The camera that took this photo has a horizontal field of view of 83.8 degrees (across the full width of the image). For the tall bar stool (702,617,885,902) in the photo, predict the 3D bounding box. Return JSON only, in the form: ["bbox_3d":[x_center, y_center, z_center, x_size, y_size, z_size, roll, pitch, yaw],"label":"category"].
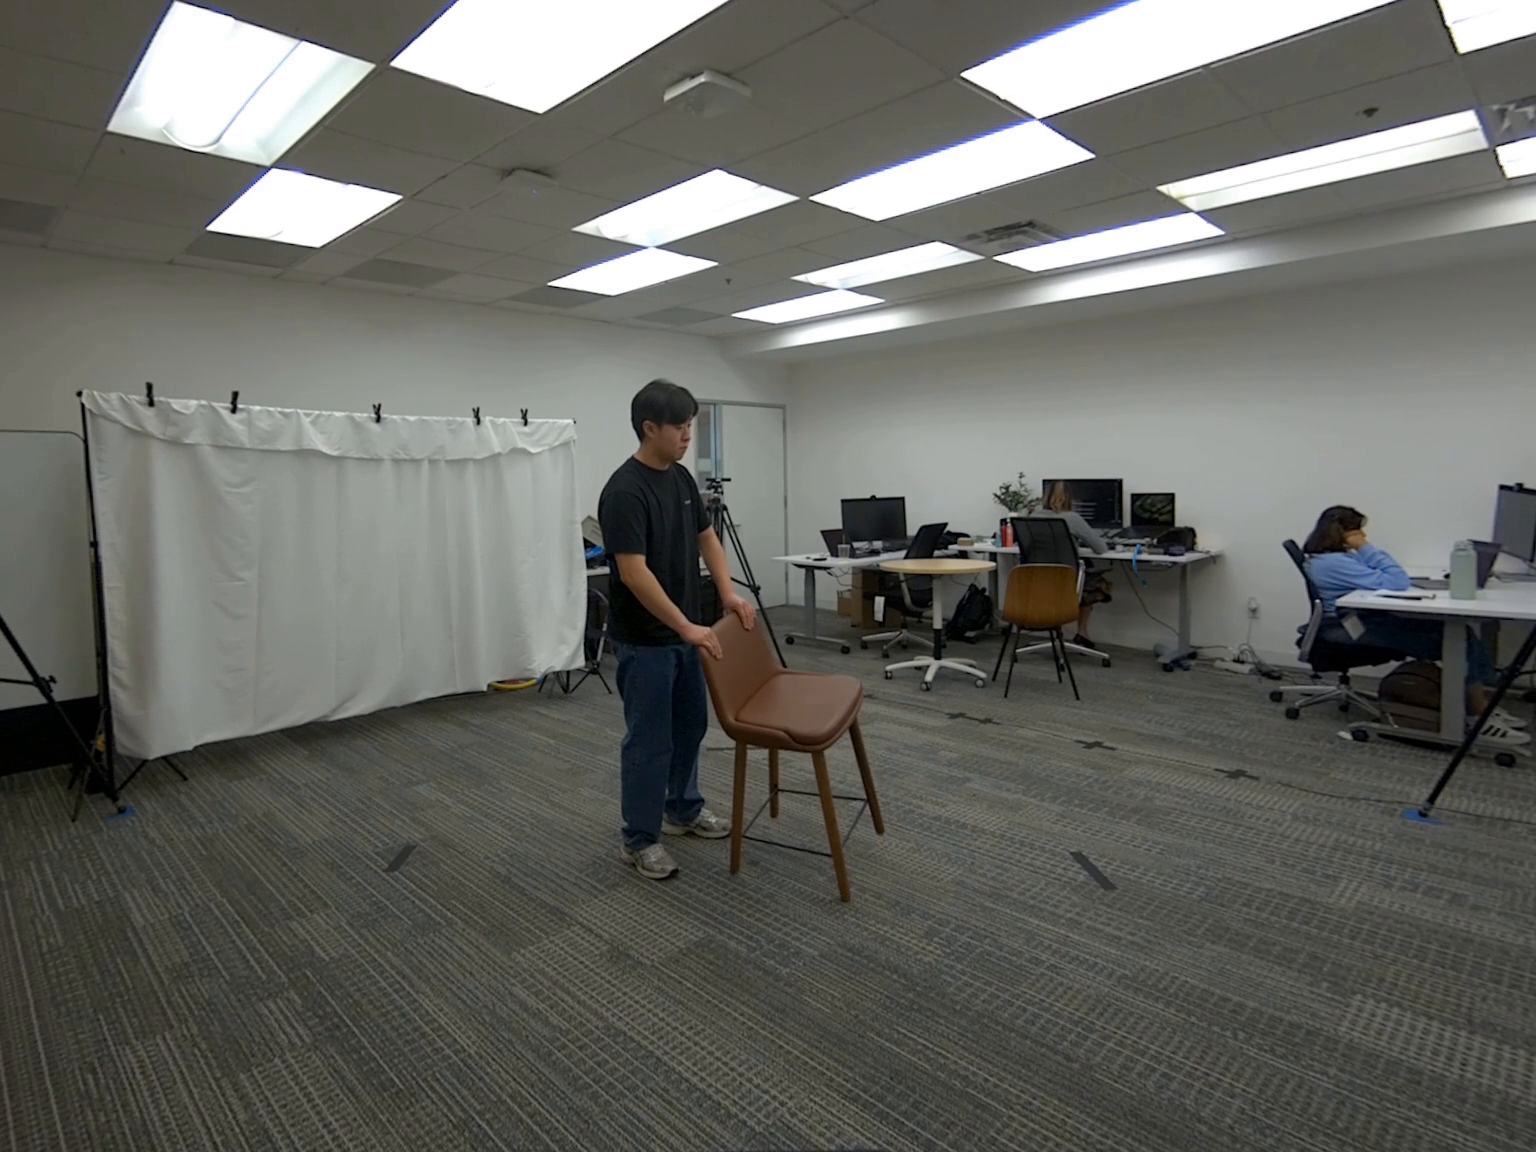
[{"bbox_3d":[0.091,0.587,2.974,0.479,0.877,0.452,-2,16,29],"label":"tall bar stool"}]
